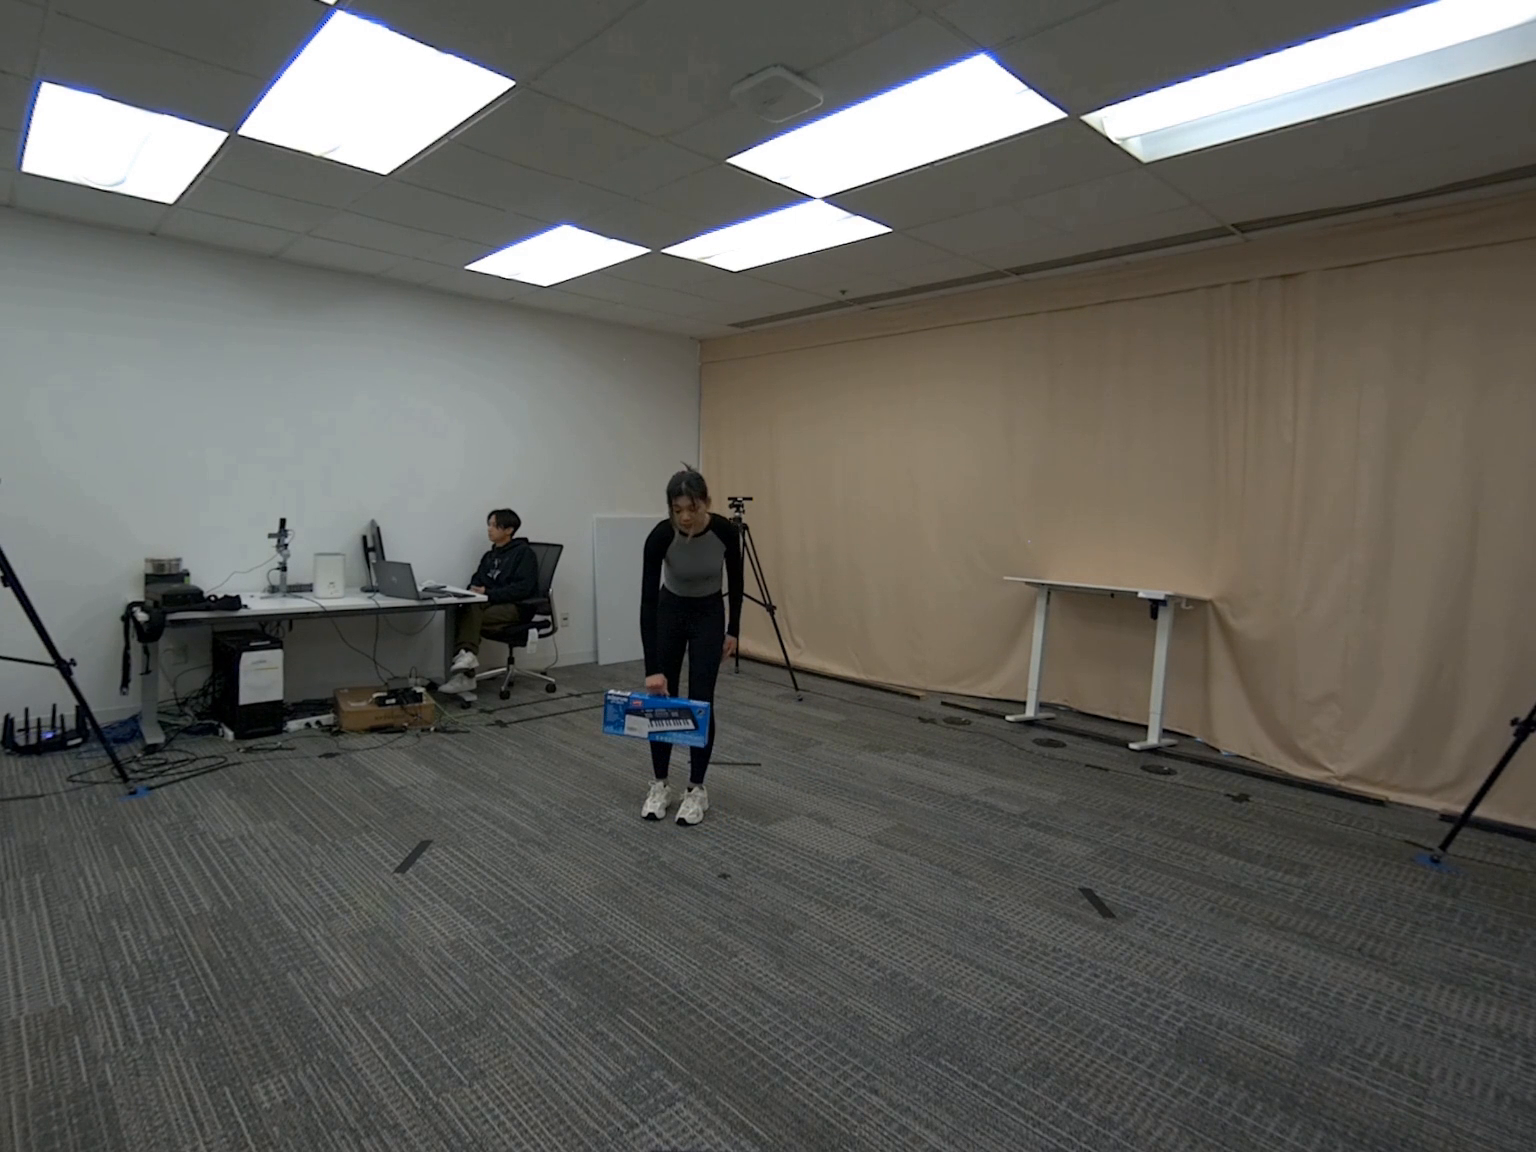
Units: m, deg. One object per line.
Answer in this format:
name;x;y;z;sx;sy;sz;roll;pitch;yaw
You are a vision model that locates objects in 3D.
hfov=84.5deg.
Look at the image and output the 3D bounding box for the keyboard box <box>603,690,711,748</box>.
keyboard box;-0.473;0.584;3.454;0.441;0.175;0.059;6;7;11
